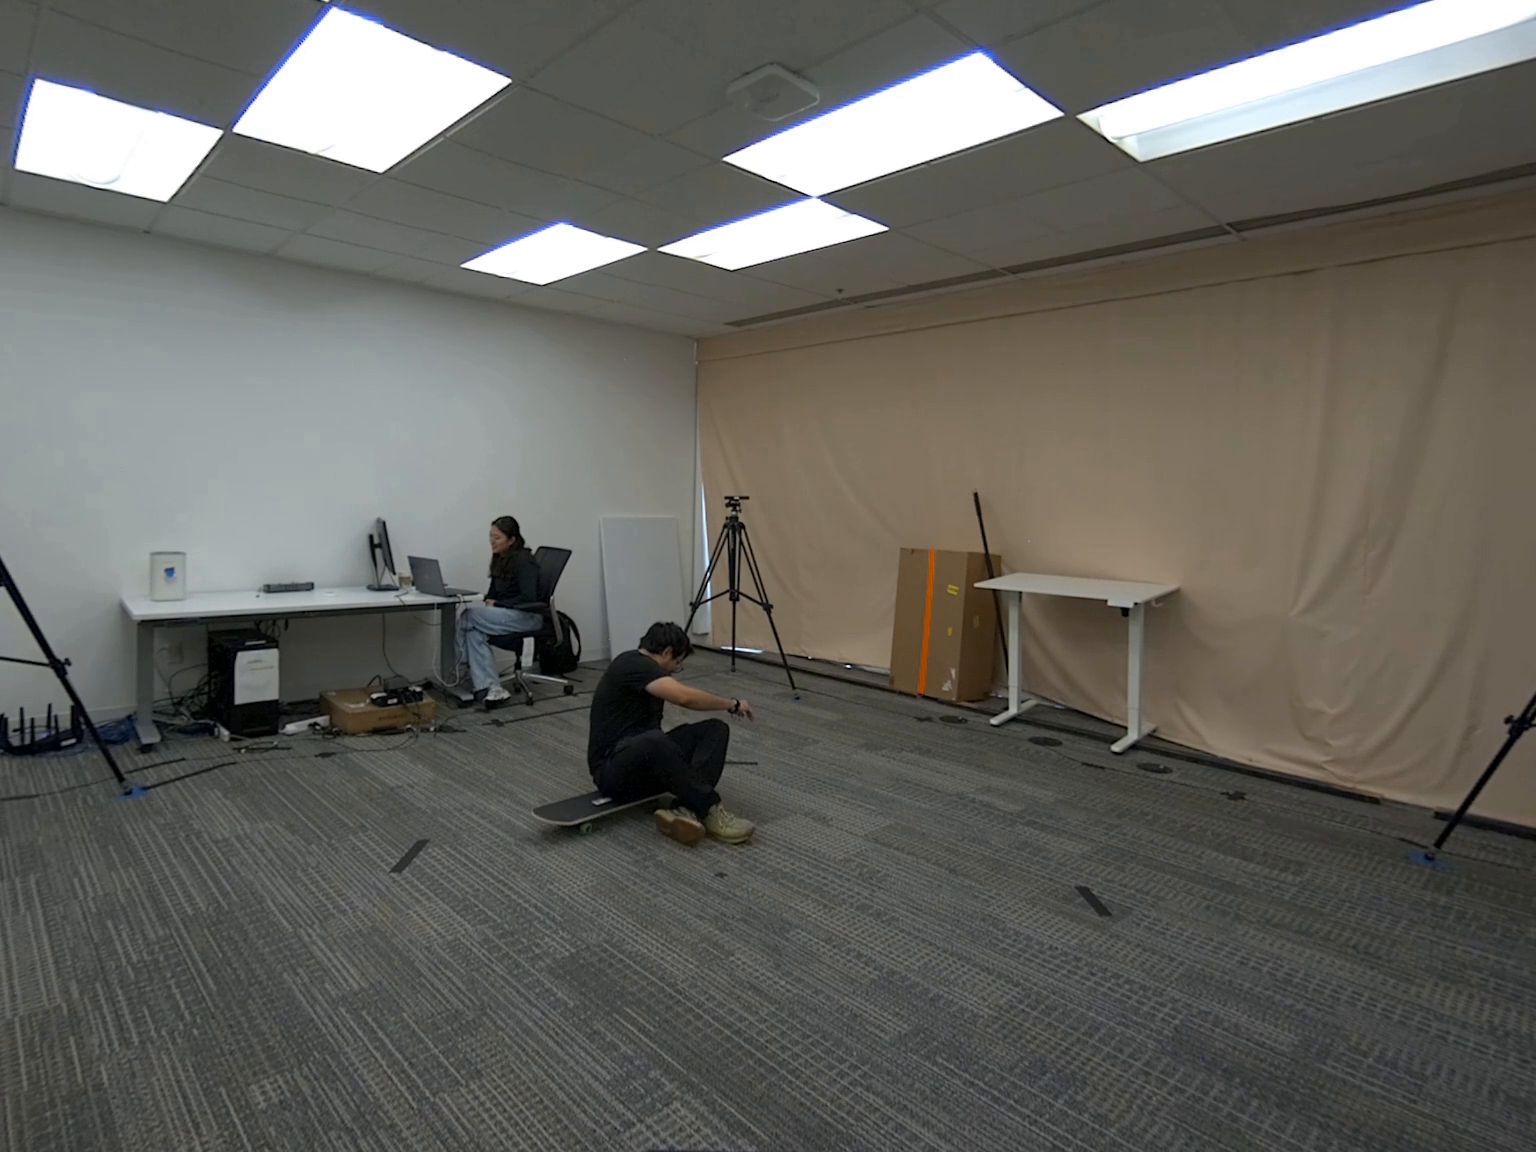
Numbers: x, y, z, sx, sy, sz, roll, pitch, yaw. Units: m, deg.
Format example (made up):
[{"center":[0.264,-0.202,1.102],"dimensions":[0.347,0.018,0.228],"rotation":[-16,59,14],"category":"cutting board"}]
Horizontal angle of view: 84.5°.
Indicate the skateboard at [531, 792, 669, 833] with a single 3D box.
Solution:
[{"center":[-0.684,0.988,3.643],"dimensions":[0.199,0.110,0.767],"rotation":[10,8,41],"category":"skateboard"}]
